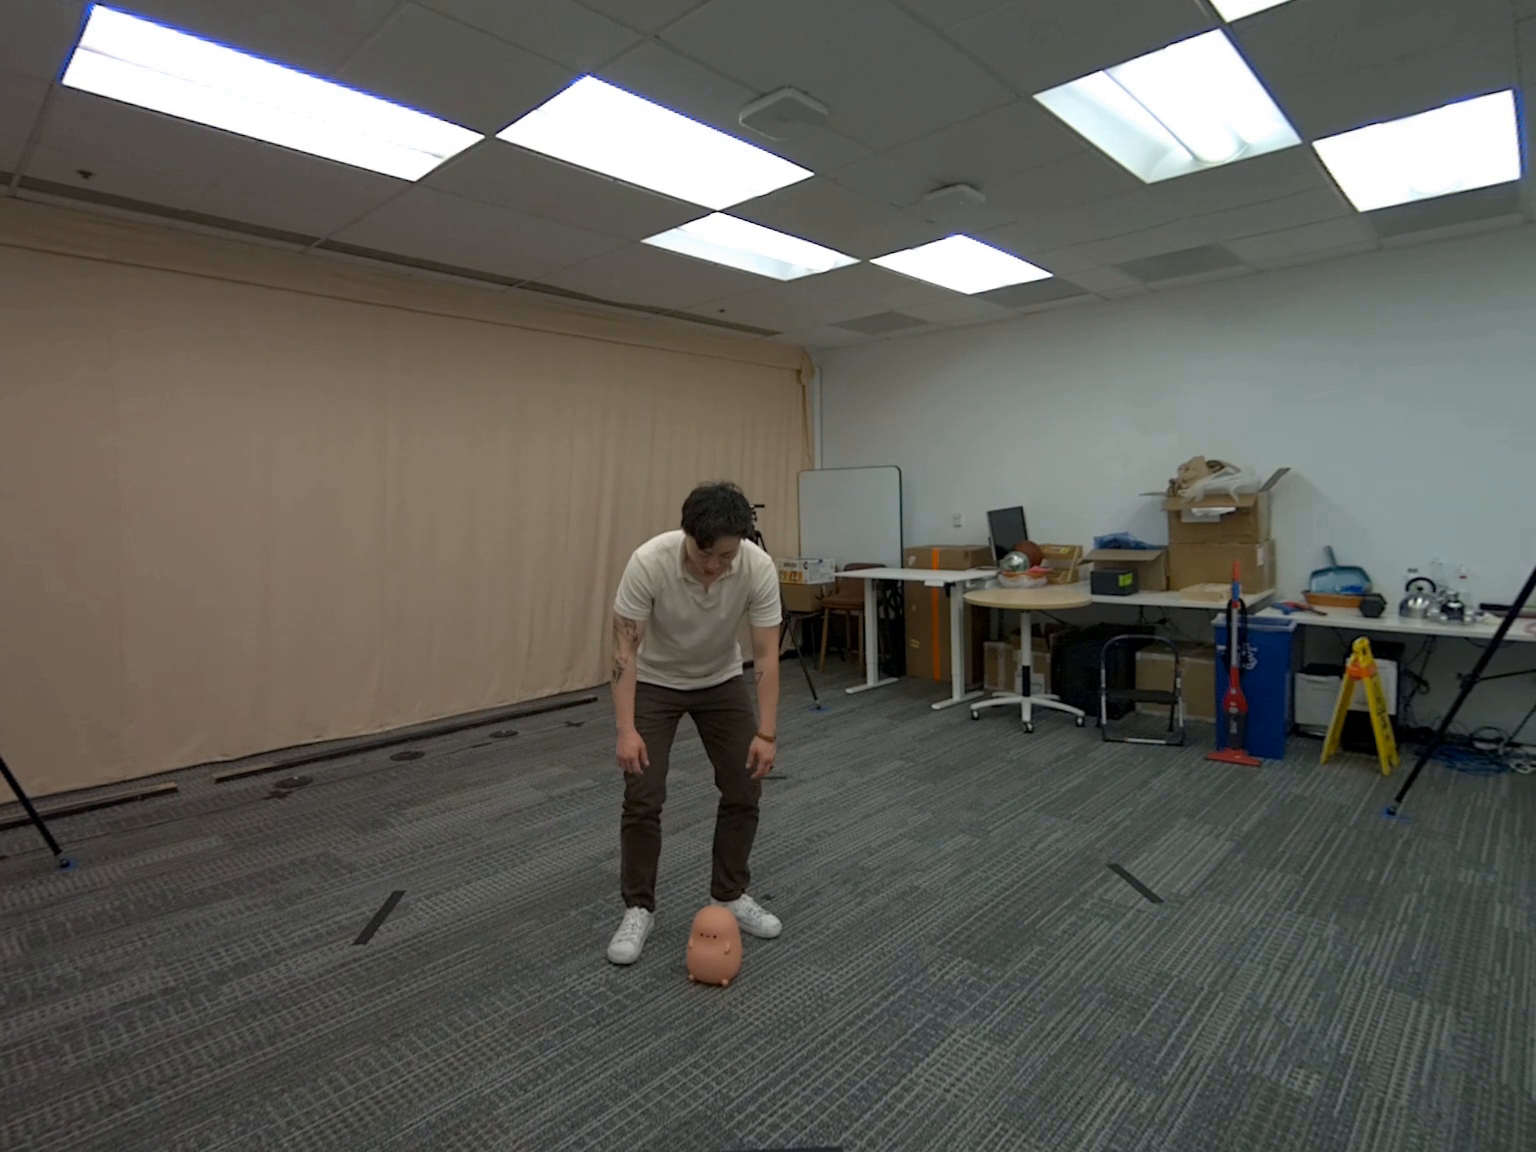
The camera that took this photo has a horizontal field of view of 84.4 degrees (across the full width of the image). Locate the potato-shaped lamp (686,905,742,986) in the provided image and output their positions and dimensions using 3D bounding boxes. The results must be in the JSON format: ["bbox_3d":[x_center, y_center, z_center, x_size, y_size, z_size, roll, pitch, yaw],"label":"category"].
[{"bbox_3d":[-0.162,1.079,2.502,0.167,0.197,0.169,1,4,15],"label":"potato-shaped lamp"}]
